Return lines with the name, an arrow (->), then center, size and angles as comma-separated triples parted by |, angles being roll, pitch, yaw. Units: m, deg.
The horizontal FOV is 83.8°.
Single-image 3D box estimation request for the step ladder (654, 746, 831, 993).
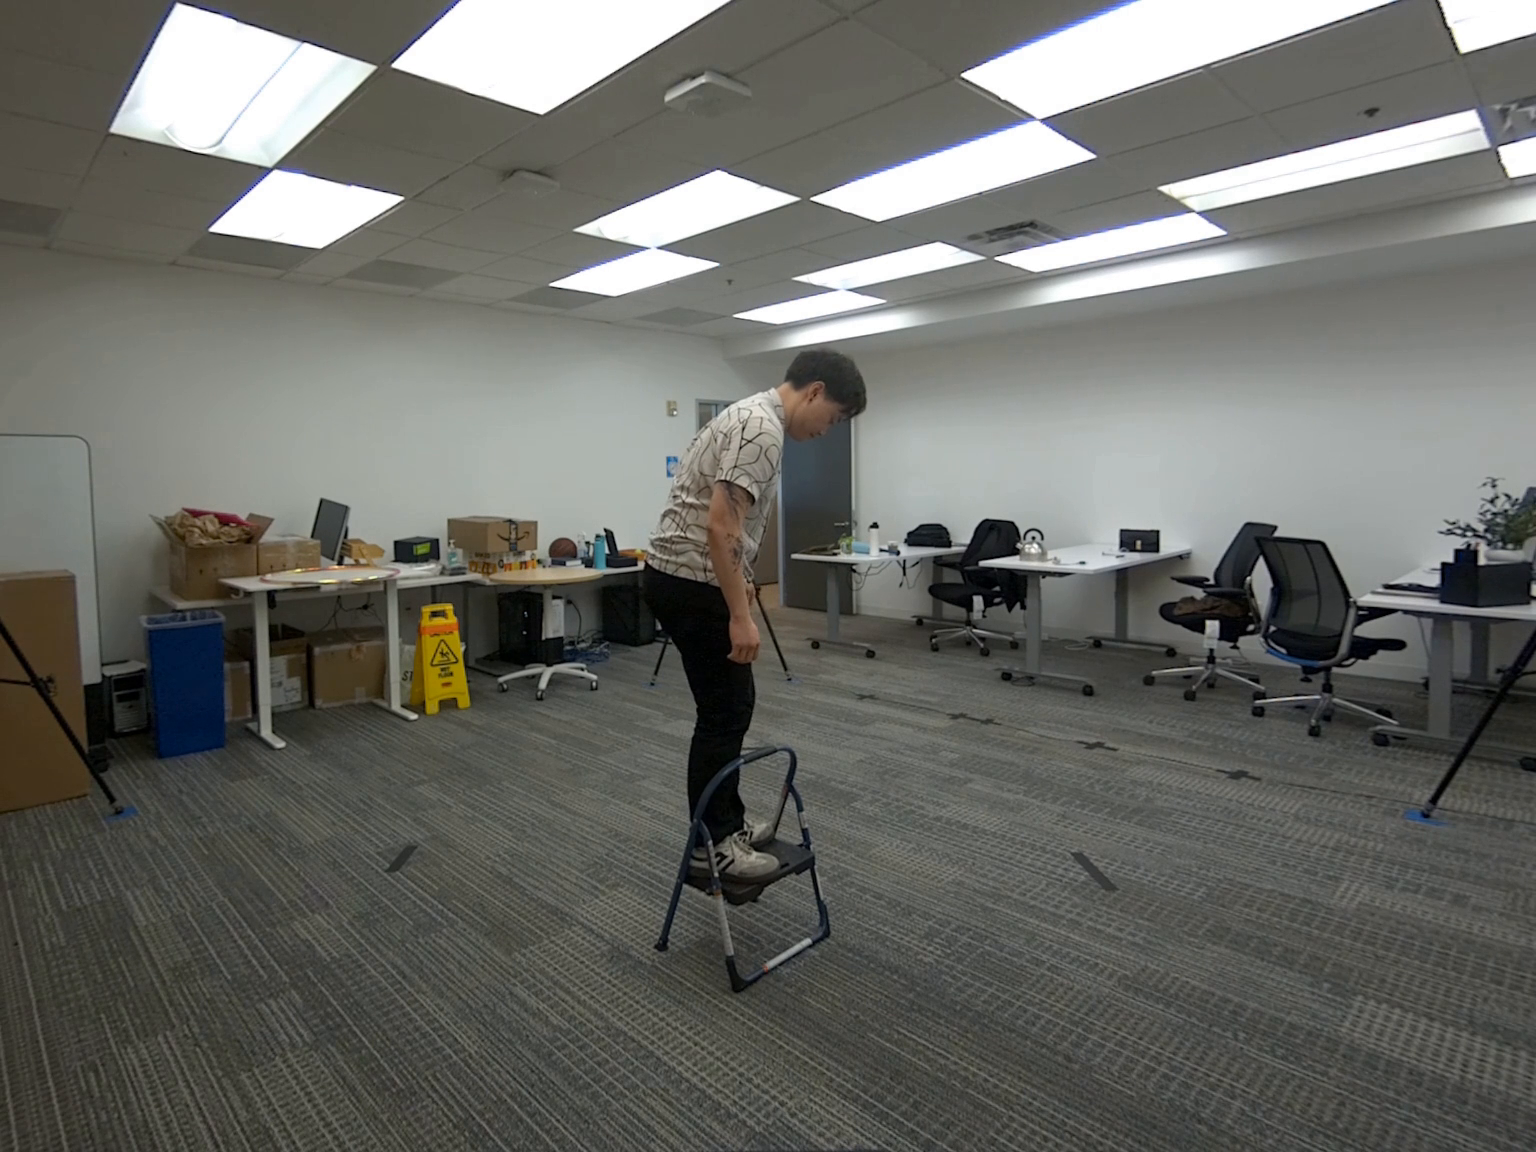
step ladder -> -0.071, 0.803, 2.566 | 0.360, 0.603, 0.419 | 4, 7, 43
